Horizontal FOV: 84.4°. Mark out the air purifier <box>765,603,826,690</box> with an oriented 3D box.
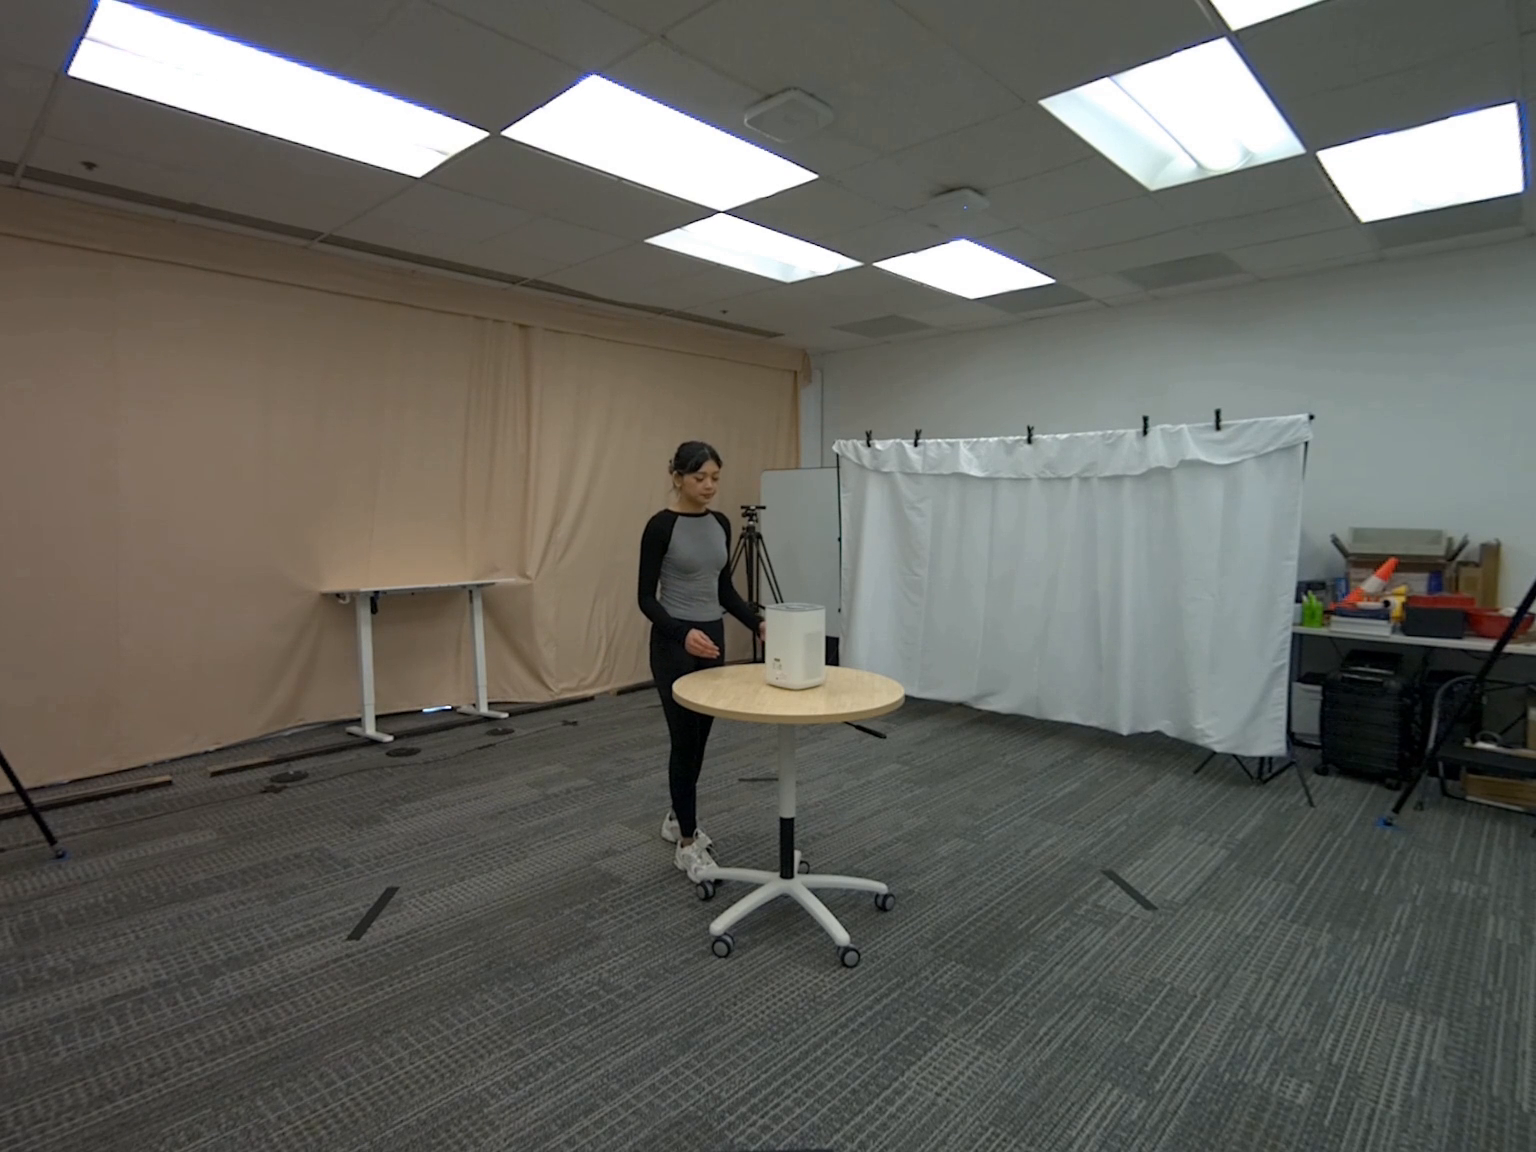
[{"bbox_3d":[0.093,0.232,2.806,0.177,0.265,0.166,4,5,45],"label":"air purifier"}]
